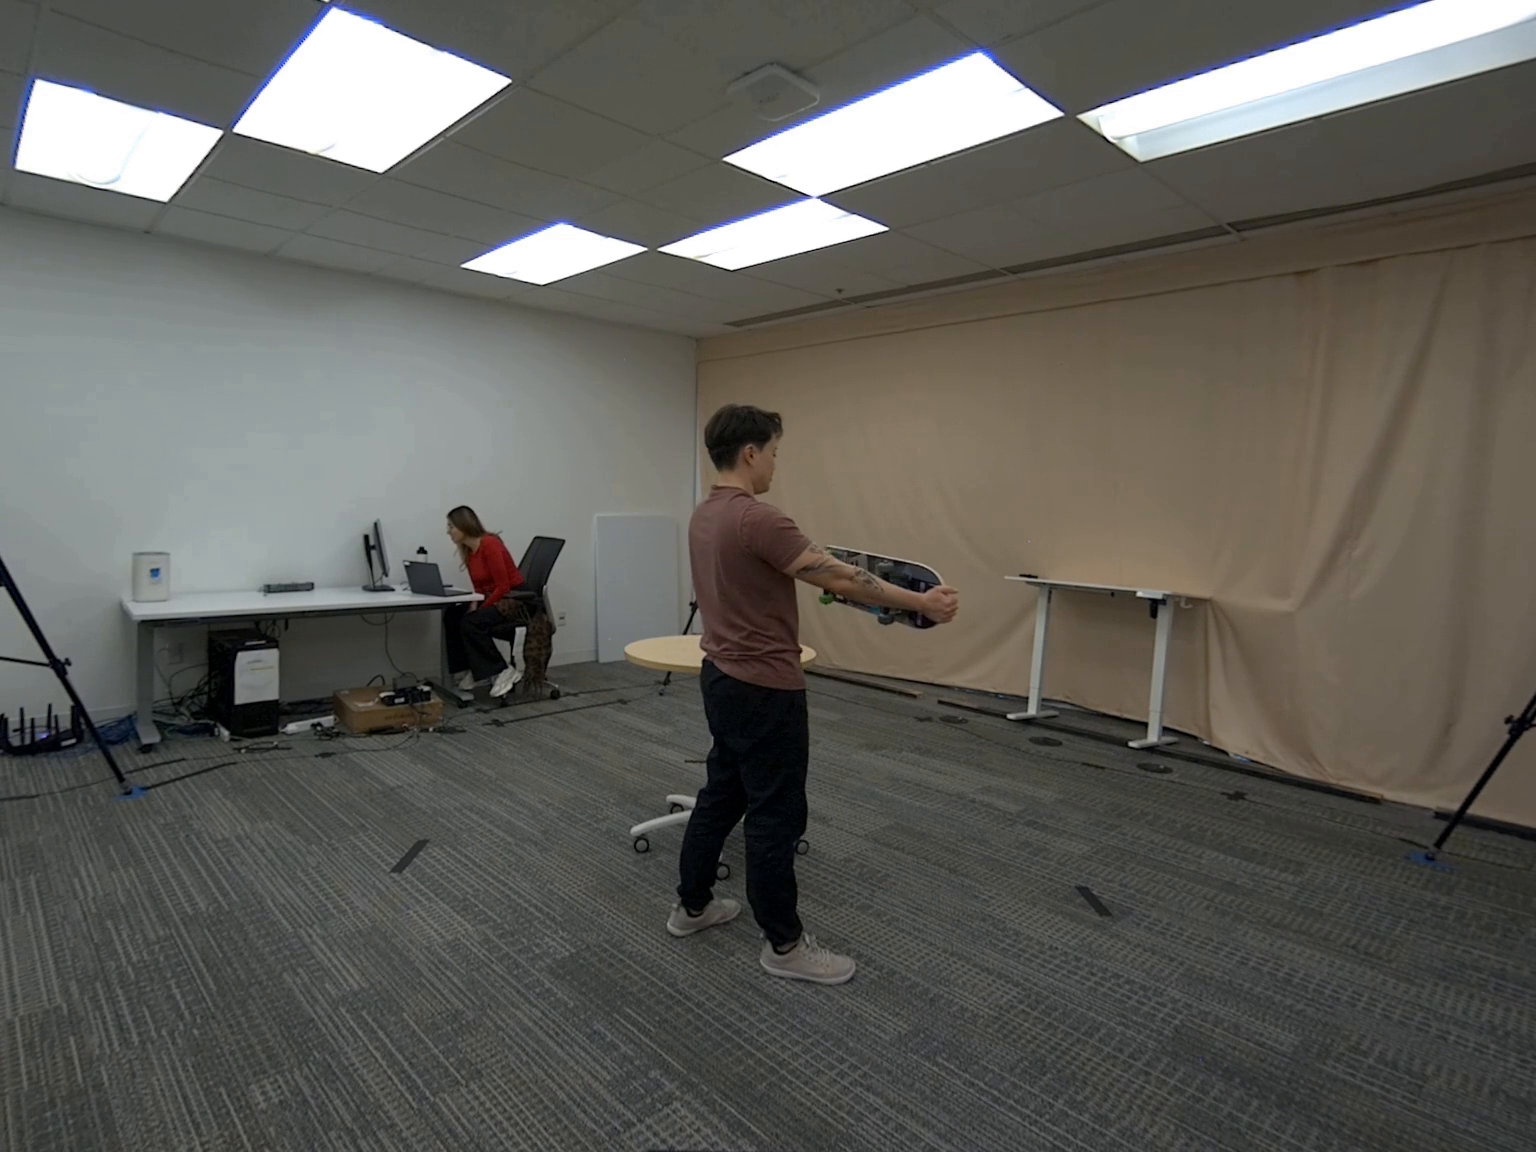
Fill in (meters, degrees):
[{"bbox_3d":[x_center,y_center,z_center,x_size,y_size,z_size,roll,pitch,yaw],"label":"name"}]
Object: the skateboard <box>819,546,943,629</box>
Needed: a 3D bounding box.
[{"bbox_3d":[0.297,0.024,2.701,0.109,0.192,0.801,-3,8,-21],"label":"skateboard"}]
